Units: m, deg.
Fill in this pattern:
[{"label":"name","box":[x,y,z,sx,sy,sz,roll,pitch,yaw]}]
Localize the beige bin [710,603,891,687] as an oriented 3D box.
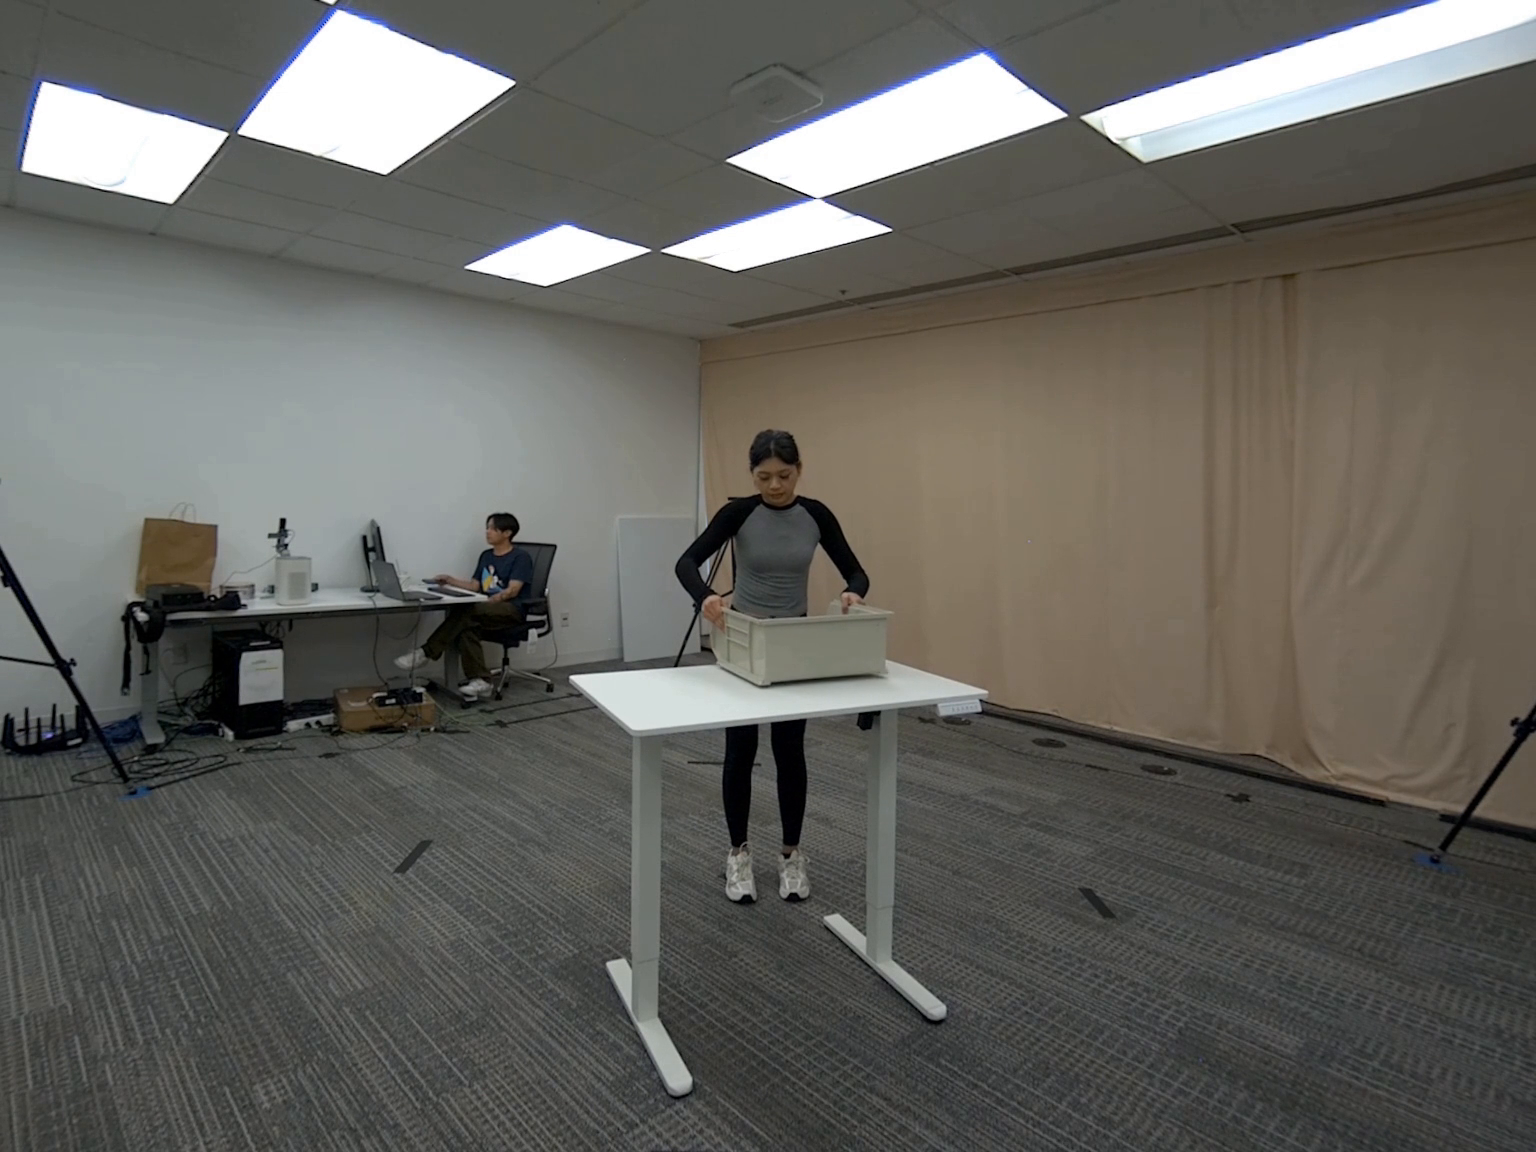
[{"label":"beige bin","box":[0.085,0.187,2.494,0.415,0.188,0.385,-1,8,-23]}]
